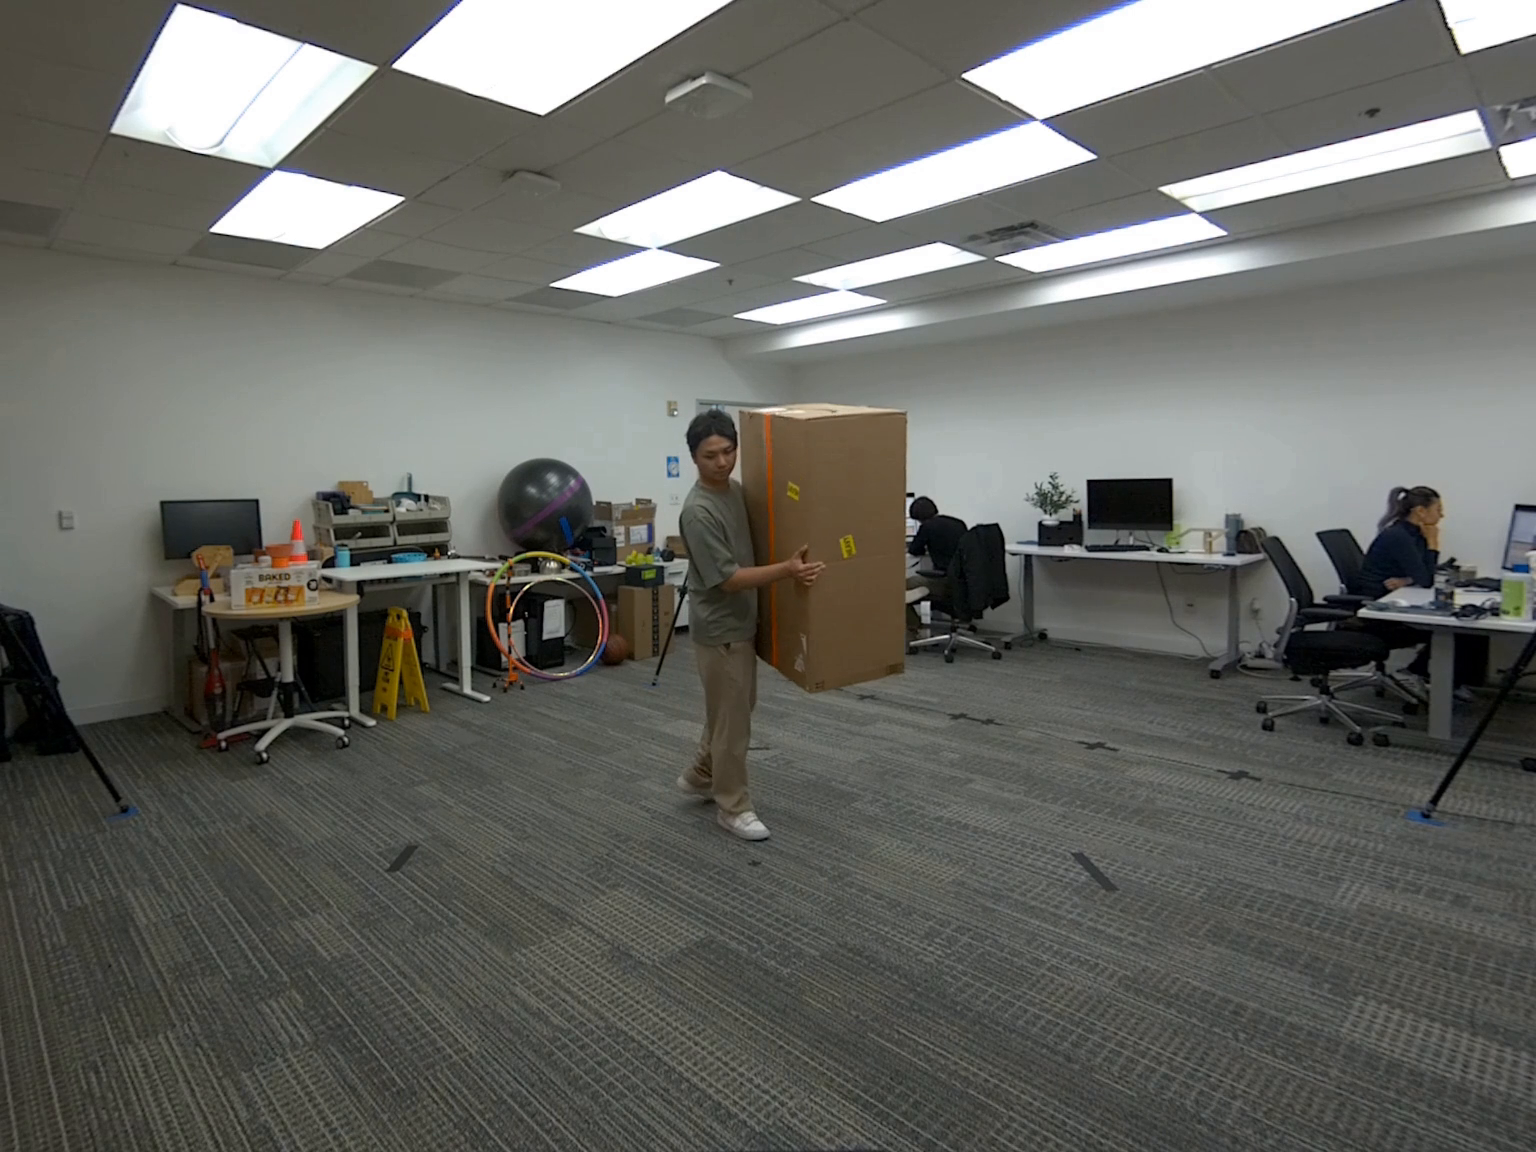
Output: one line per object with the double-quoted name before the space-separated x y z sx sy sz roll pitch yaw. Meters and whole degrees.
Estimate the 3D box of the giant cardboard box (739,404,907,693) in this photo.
"giant cardboard box" 0.204 -0.144 3.394 0.418 1.013 0.595 -7 14 -24
